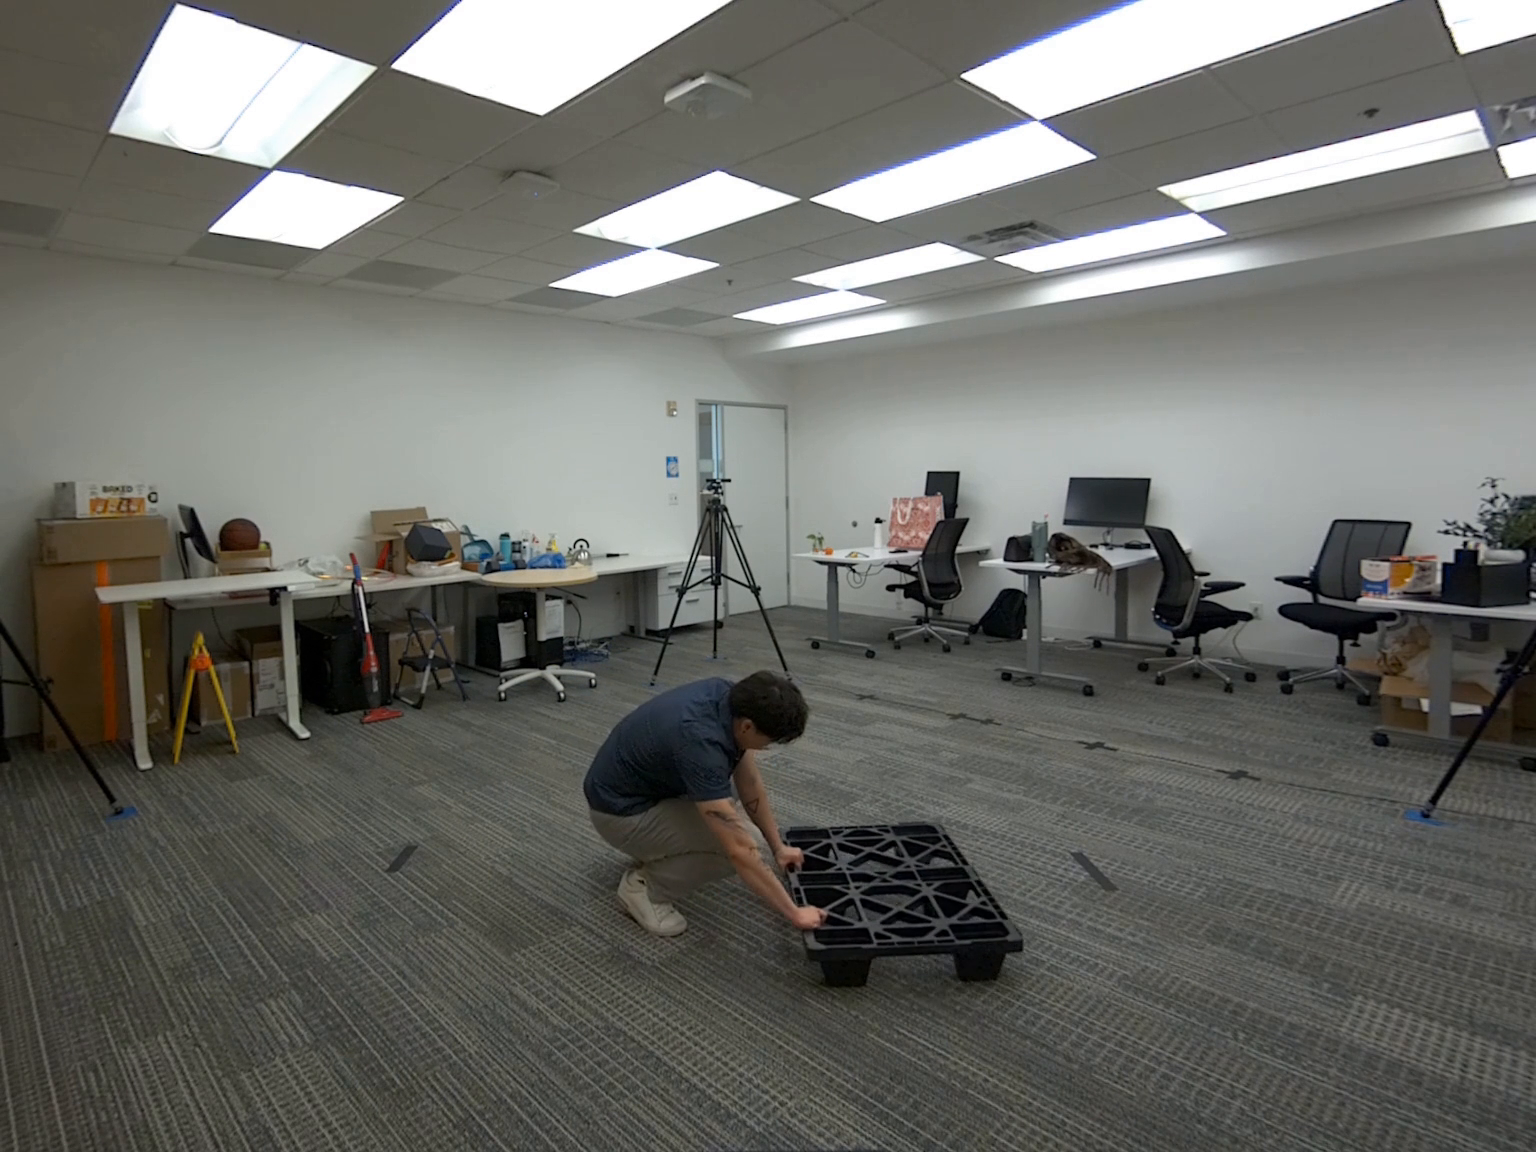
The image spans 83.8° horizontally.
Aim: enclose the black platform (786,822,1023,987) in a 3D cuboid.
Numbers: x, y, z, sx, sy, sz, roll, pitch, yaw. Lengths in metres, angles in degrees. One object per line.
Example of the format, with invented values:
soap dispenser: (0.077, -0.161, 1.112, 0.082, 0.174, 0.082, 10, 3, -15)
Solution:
black platform: (0.369, 1.008, 2.719, 0.603, 0.142, 0.812, -1, 7, -4)
